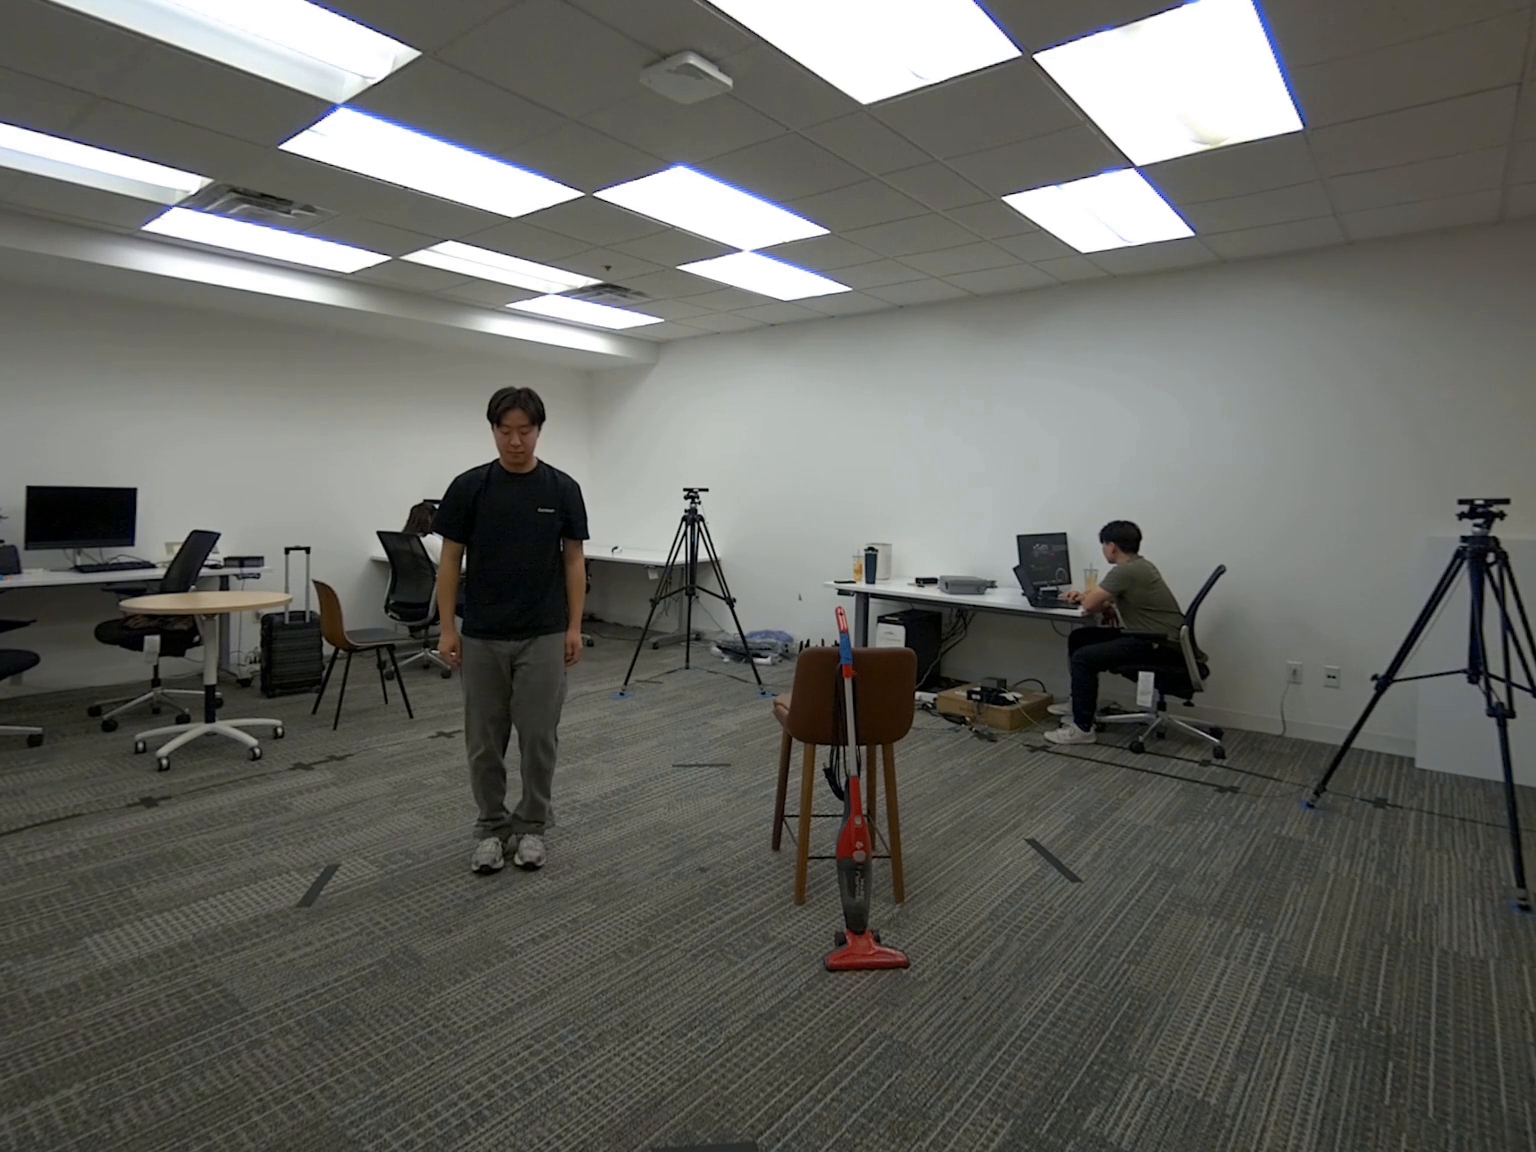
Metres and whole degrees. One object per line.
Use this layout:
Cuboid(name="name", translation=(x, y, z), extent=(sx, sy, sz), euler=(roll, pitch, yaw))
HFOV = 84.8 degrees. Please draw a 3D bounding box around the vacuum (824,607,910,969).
Cuboid(name="vacuum", translation=(0.252, 0.619, 2.677), extent=(0.248, 1.065, 0.144), euler=(1, -15, -17))
